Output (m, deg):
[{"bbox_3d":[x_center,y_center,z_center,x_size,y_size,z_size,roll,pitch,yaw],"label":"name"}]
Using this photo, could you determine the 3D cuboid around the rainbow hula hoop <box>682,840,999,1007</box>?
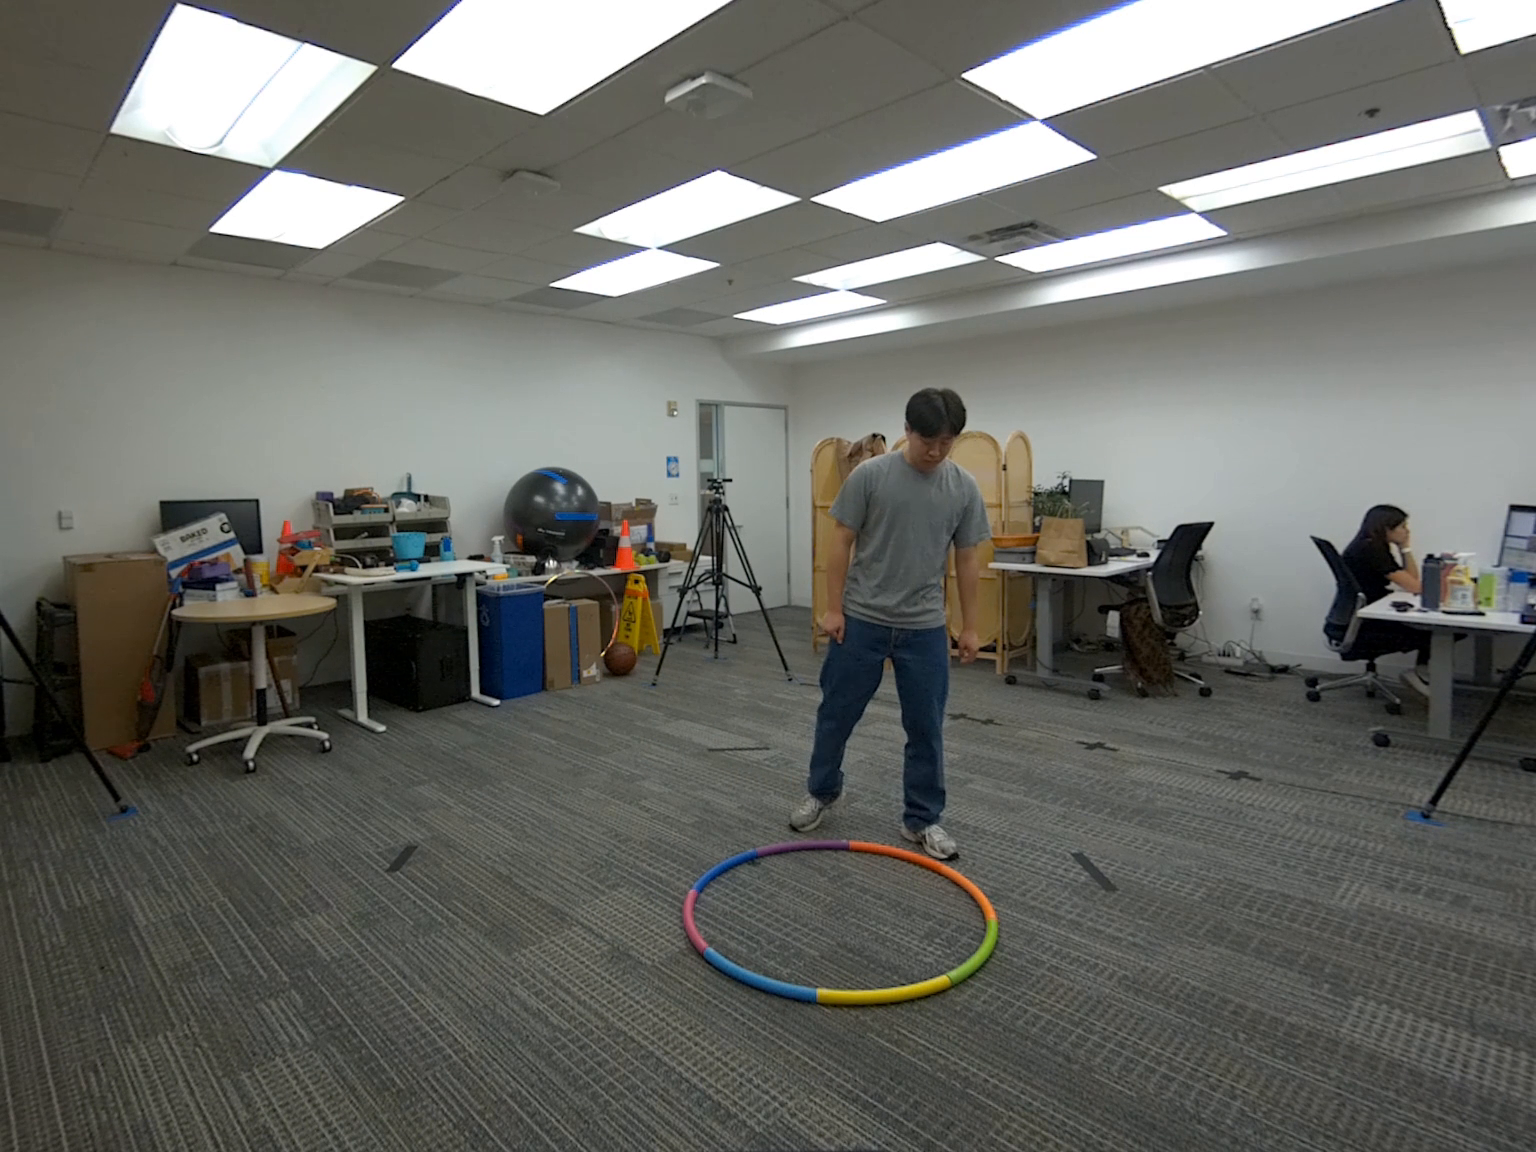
[{"bbox_3d":[0.216,1.055,2.741,0.978,0.035,0.984,-1,7,-2],"label":"rainbow hula hoop"}]
